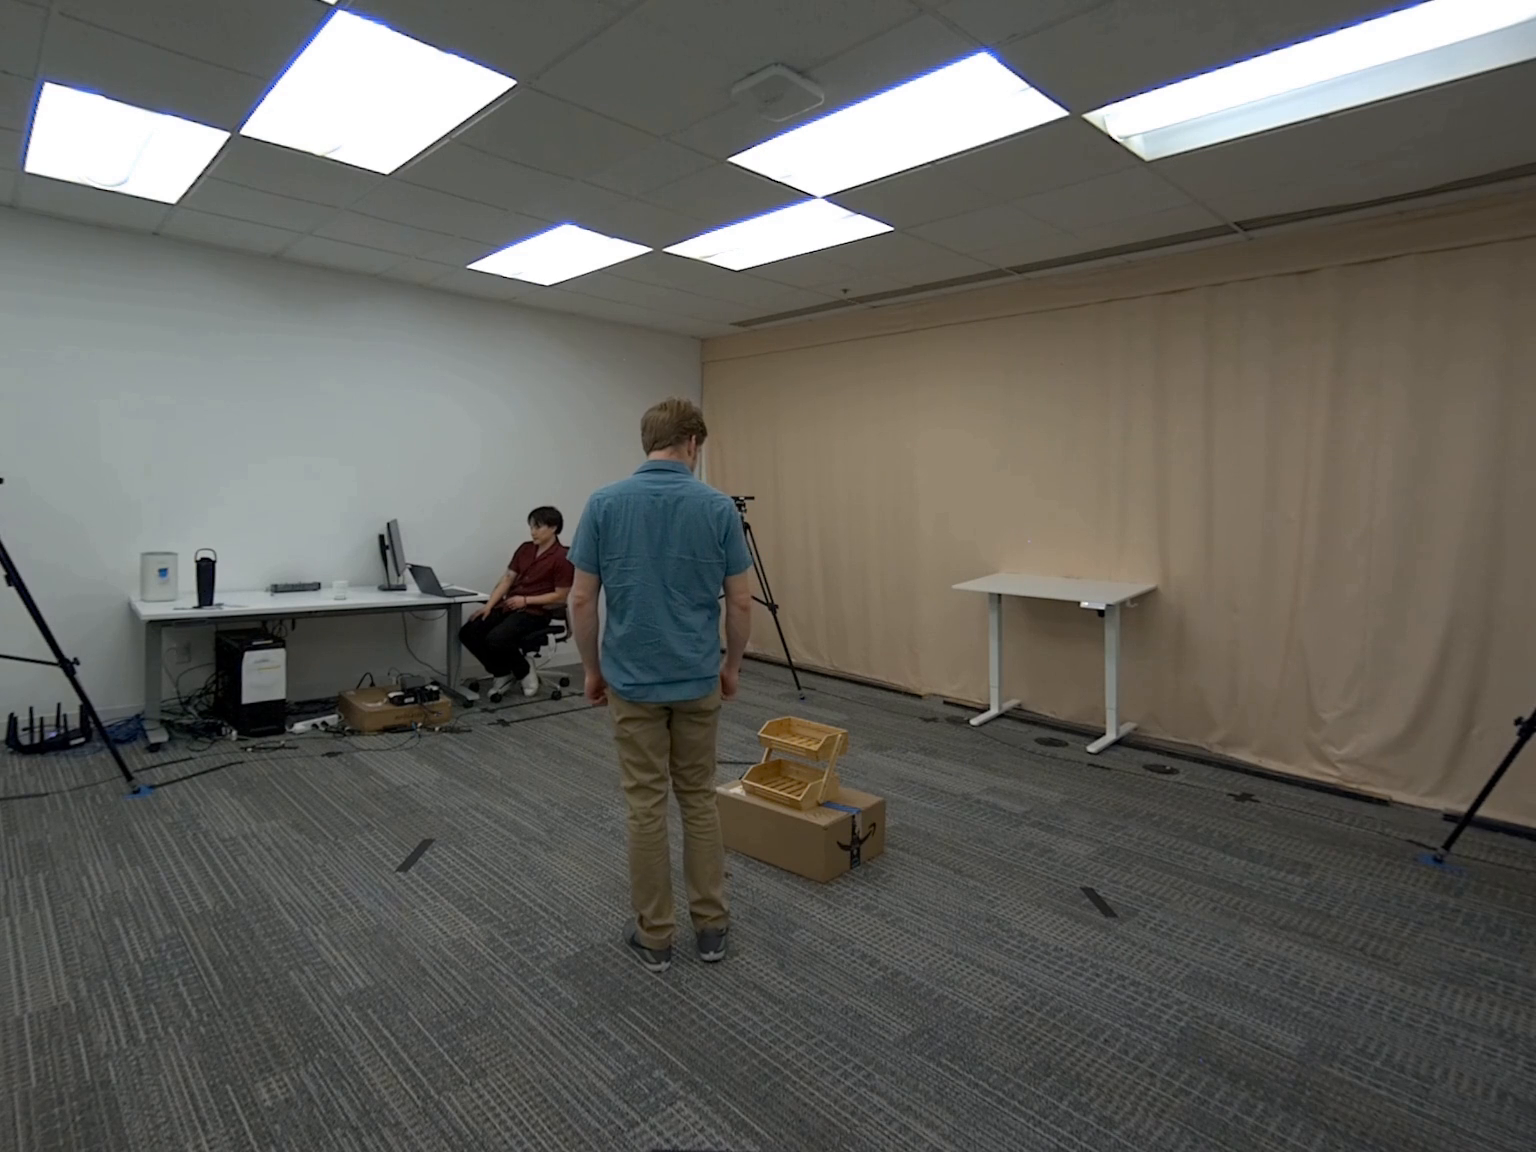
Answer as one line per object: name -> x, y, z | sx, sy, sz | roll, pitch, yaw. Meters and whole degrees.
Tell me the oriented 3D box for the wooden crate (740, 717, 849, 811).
wooden crate -> 0.099, 0.740, 3.383 | 0.333, 0.273, 0.295 | 6, 4, 41
